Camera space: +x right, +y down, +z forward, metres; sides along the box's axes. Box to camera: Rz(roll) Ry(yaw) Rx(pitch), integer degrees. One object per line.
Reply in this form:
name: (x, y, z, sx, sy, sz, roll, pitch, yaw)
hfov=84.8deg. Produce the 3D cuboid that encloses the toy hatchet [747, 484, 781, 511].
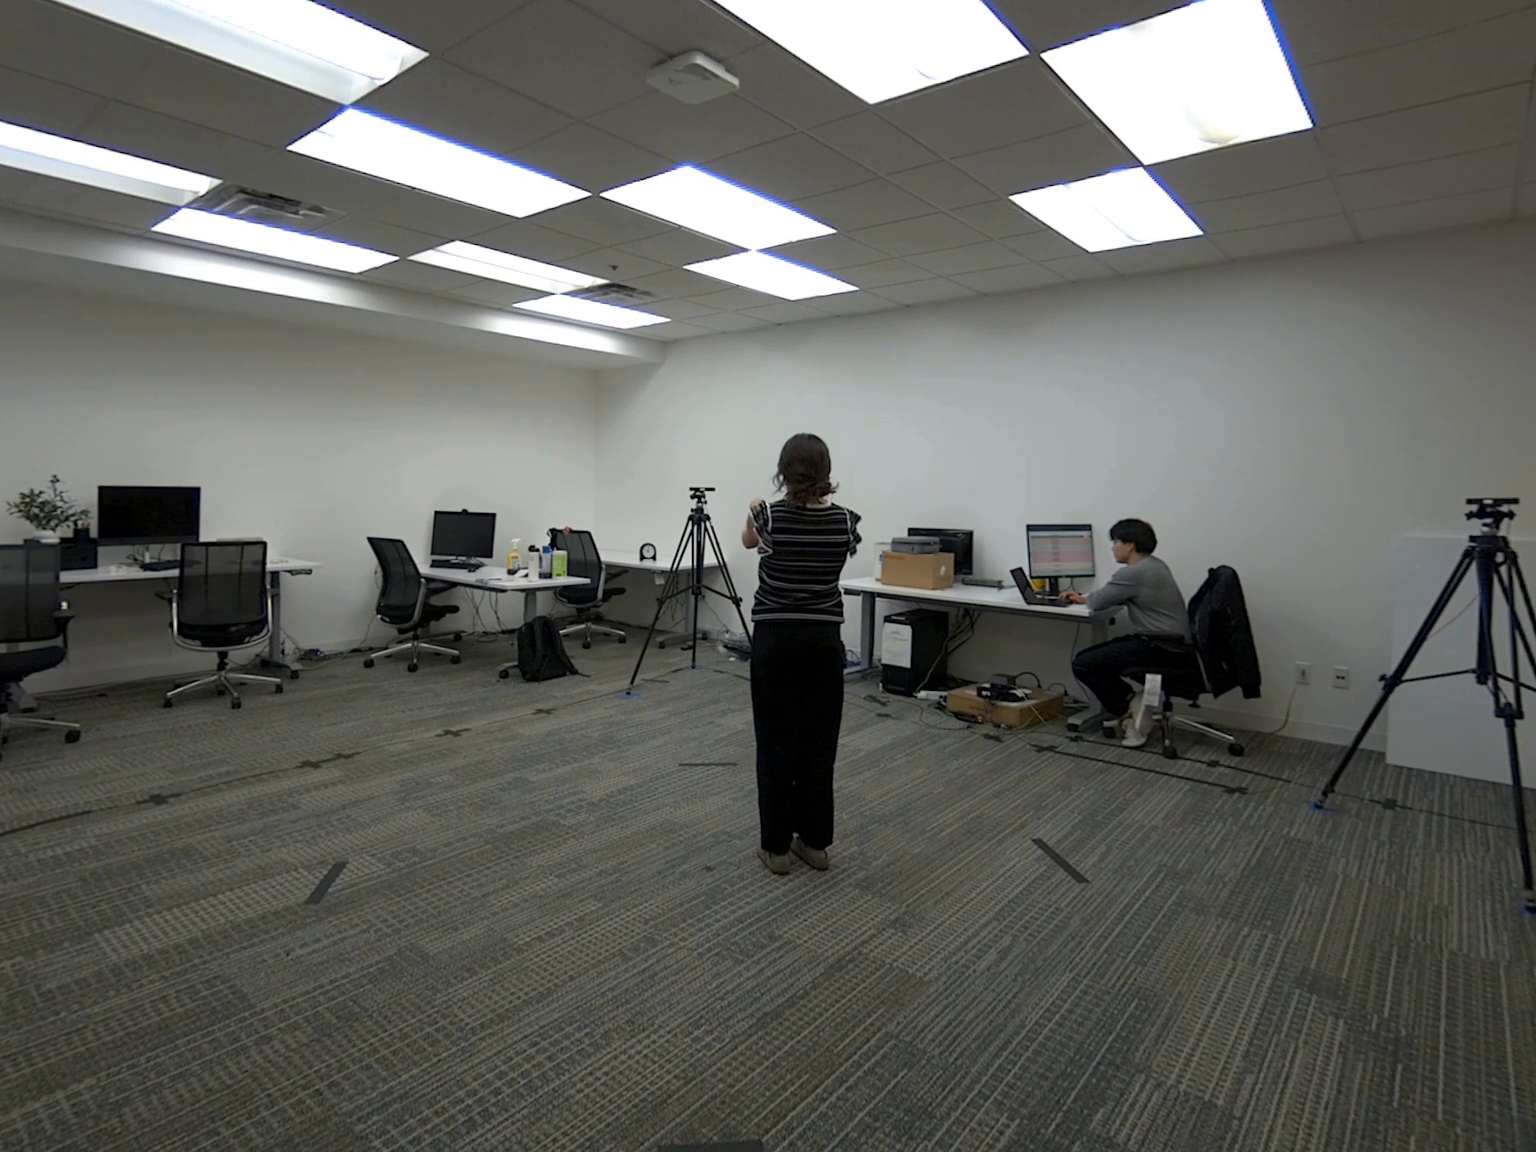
toy hatchet: (0.039, -0.300, 3.684, 0.259, 0.131, 0.031, 25, 28, -48)
